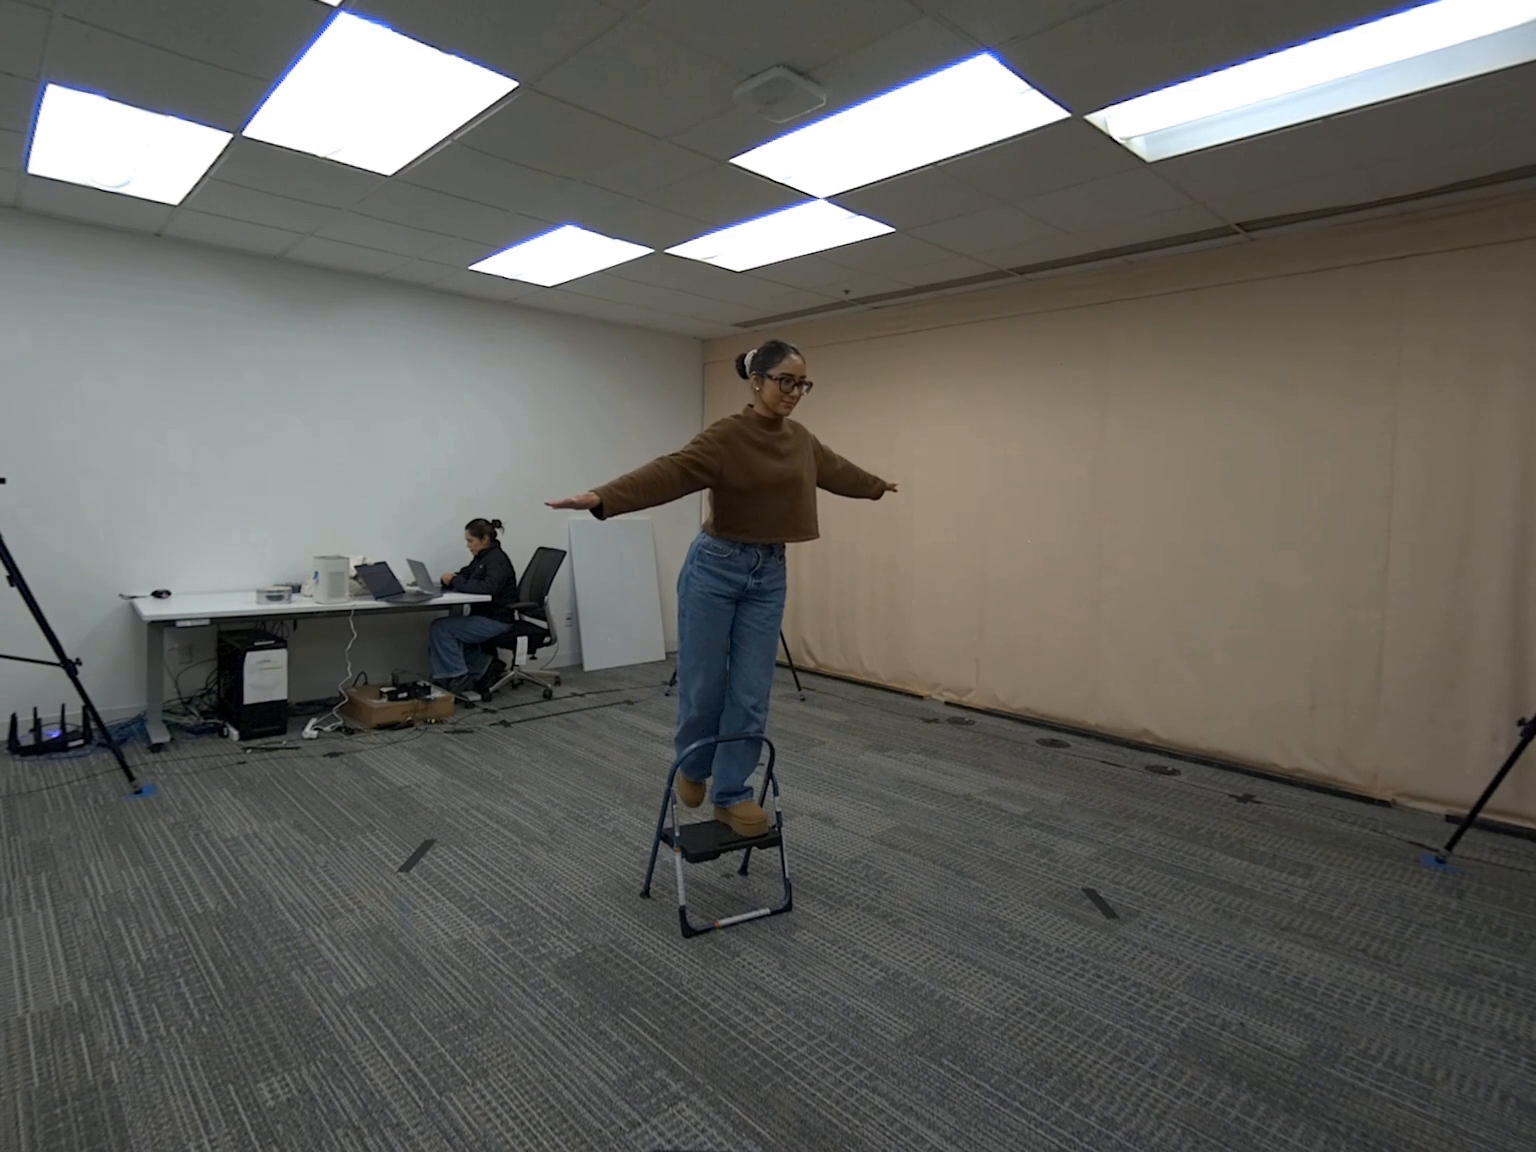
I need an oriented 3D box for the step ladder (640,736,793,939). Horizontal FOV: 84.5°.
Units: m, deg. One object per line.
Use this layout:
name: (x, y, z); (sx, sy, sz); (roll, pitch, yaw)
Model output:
step ladder: (-0.179, 0.826, 2.879); (0.421, 0.604, 0.357); (-1, 4, -32)
